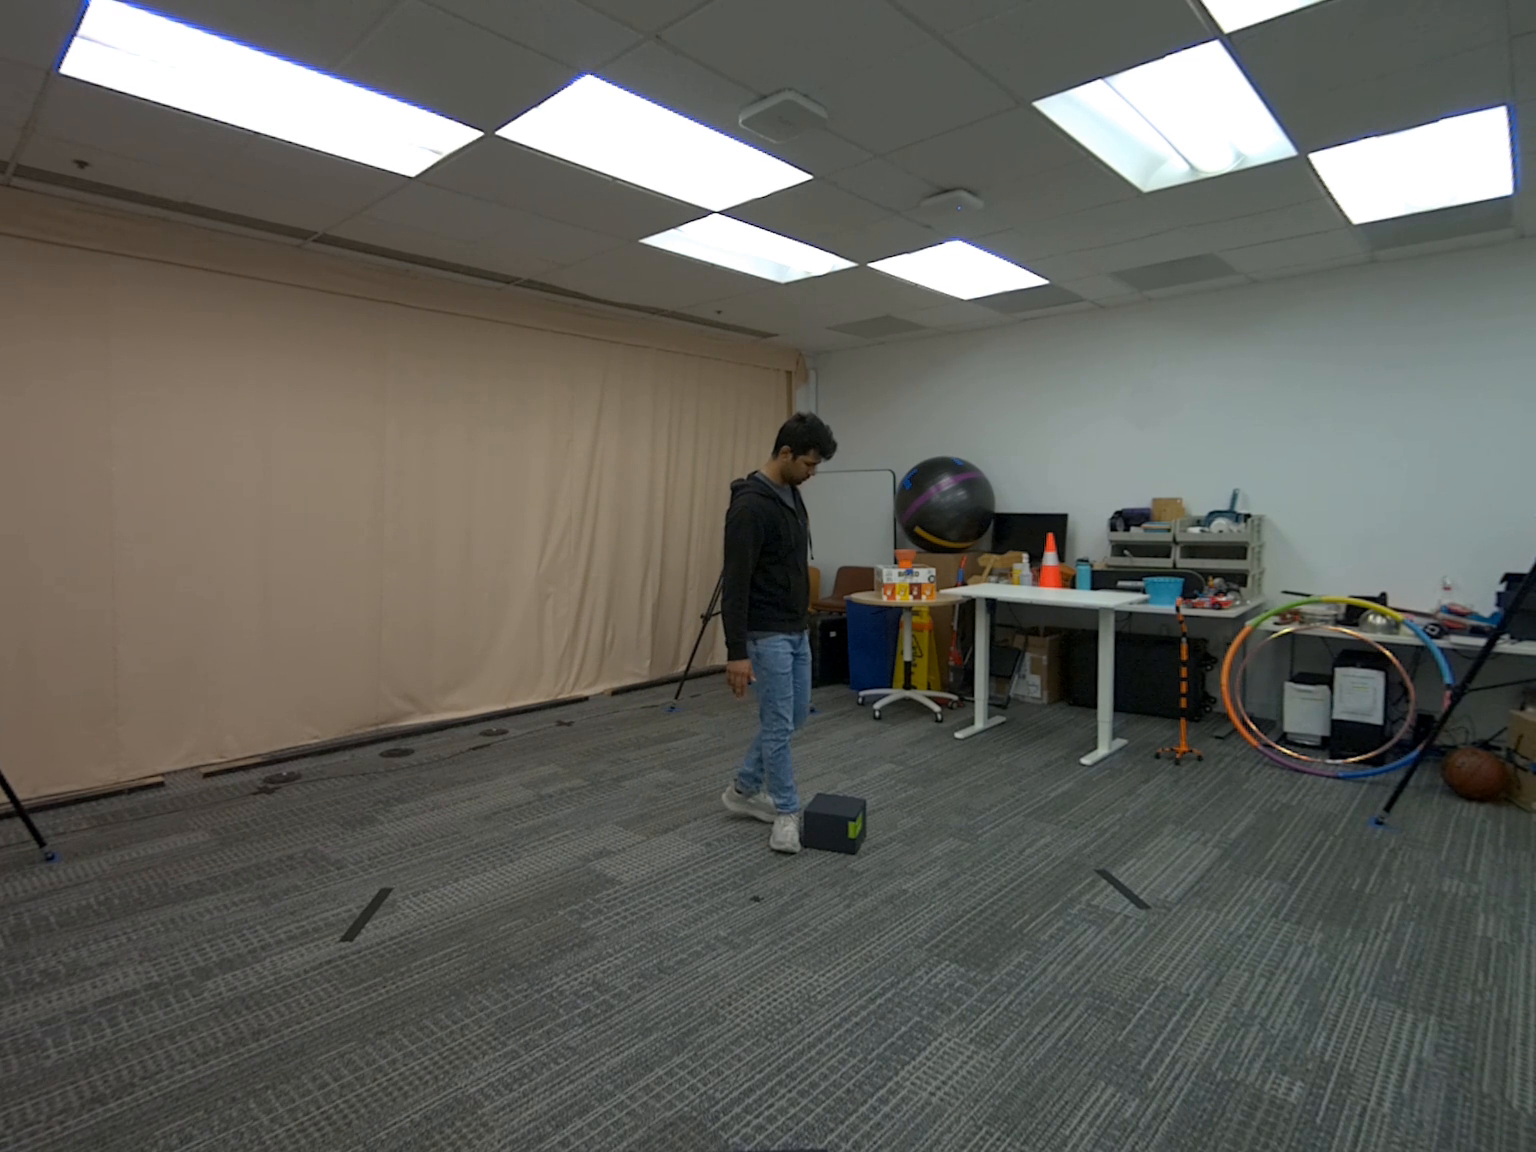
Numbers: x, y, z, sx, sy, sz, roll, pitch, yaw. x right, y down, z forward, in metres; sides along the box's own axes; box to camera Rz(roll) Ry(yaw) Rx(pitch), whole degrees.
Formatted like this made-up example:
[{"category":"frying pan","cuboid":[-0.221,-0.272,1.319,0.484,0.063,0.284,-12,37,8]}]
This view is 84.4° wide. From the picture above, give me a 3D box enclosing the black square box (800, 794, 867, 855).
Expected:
[{"category":"black square box","cuboid":[0.288,1.021,3.481,0.221,0.155,0.224,2,4,18]}]
